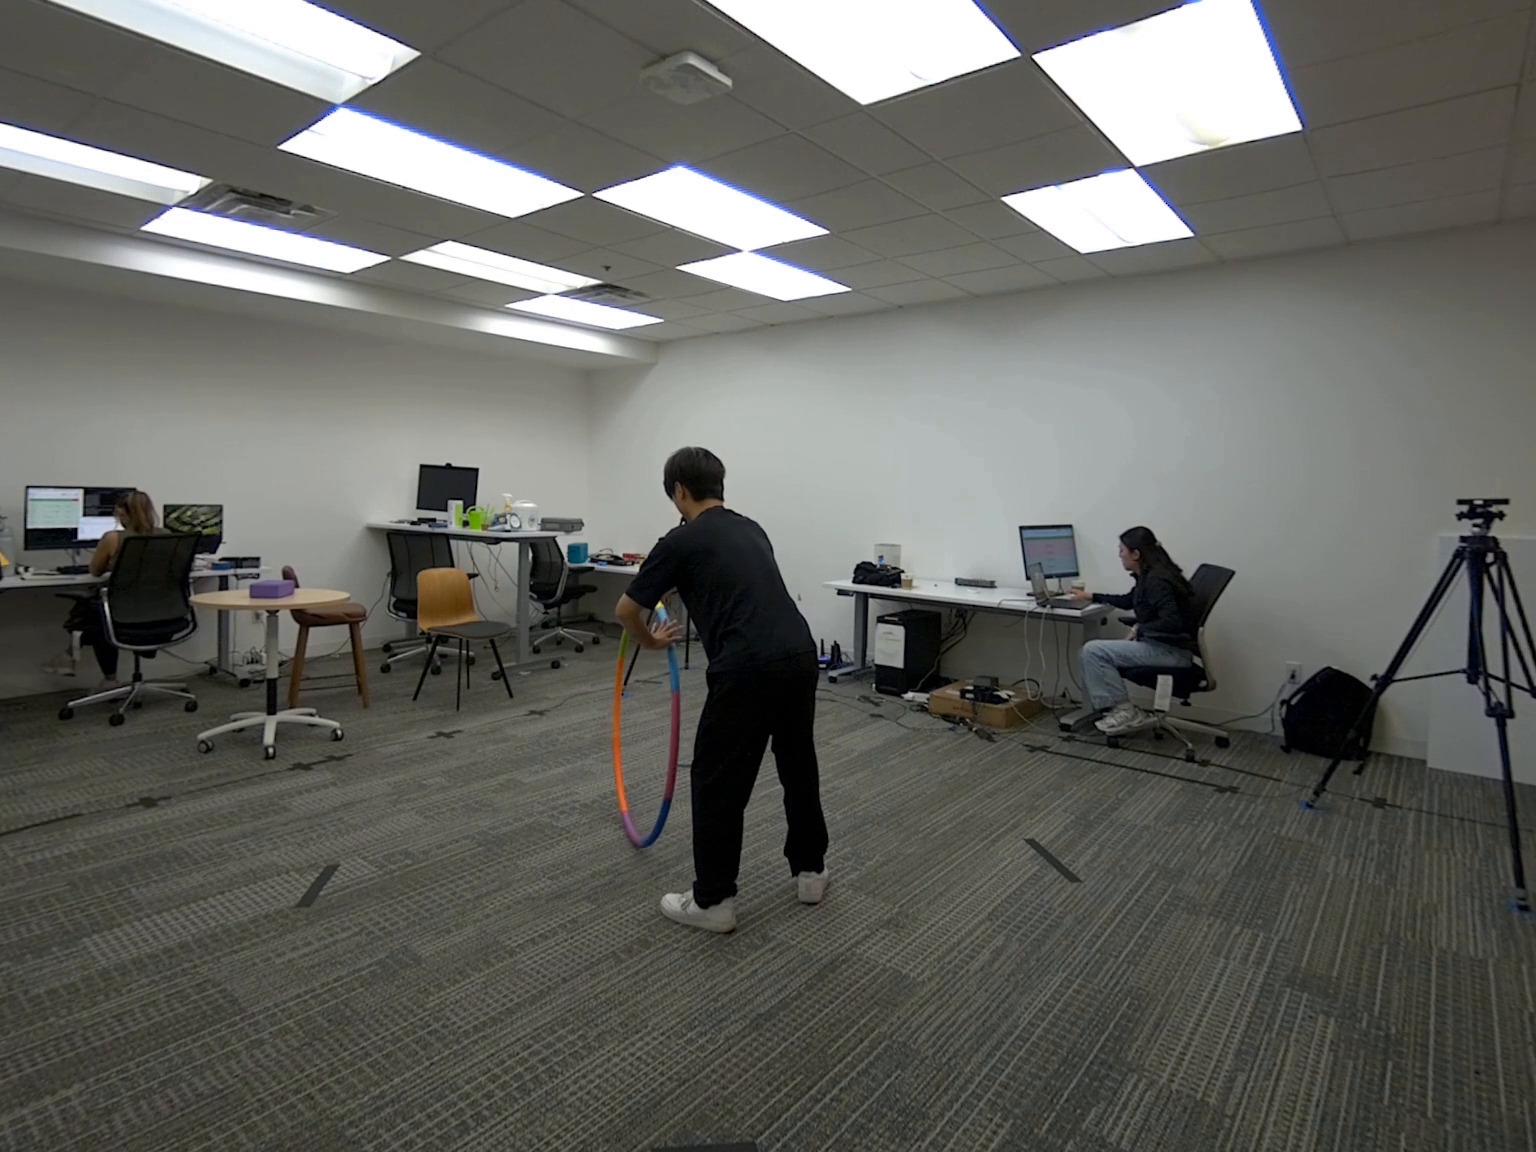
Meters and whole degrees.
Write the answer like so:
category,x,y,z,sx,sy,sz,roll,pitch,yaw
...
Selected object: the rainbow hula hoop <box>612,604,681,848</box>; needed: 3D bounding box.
category,x,y,z,sx,sy,sz,roll,pitch,yaw
rainbow hula hoop,-0.510,0.556,3.372,0.035,0.977,1.001,5,2,-21
